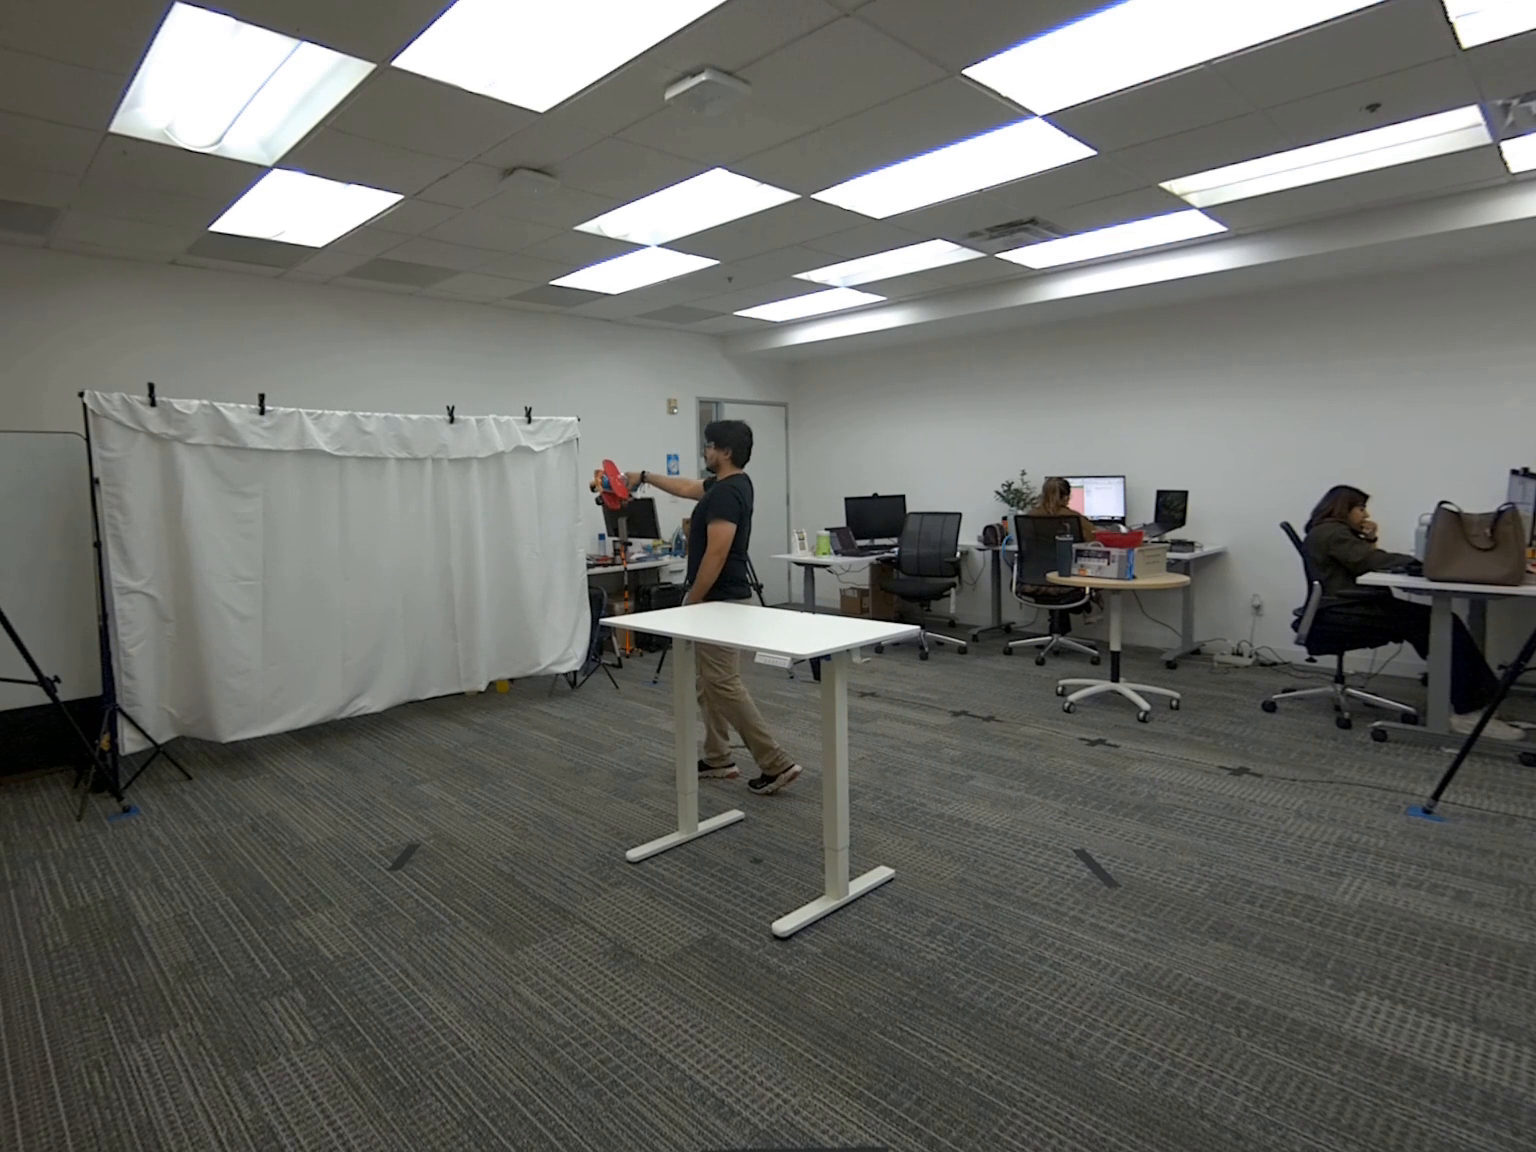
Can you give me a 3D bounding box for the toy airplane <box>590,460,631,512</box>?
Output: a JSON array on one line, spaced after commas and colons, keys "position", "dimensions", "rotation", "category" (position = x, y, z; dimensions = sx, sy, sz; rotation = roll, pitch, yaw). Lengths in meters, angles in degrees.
[{"position": [-0.762, -0.461, 4.277], "dimensions": [0.258, 0.254, 0.156], "rotation": [-40, -10, -47], "category": "toy airplane"}]
